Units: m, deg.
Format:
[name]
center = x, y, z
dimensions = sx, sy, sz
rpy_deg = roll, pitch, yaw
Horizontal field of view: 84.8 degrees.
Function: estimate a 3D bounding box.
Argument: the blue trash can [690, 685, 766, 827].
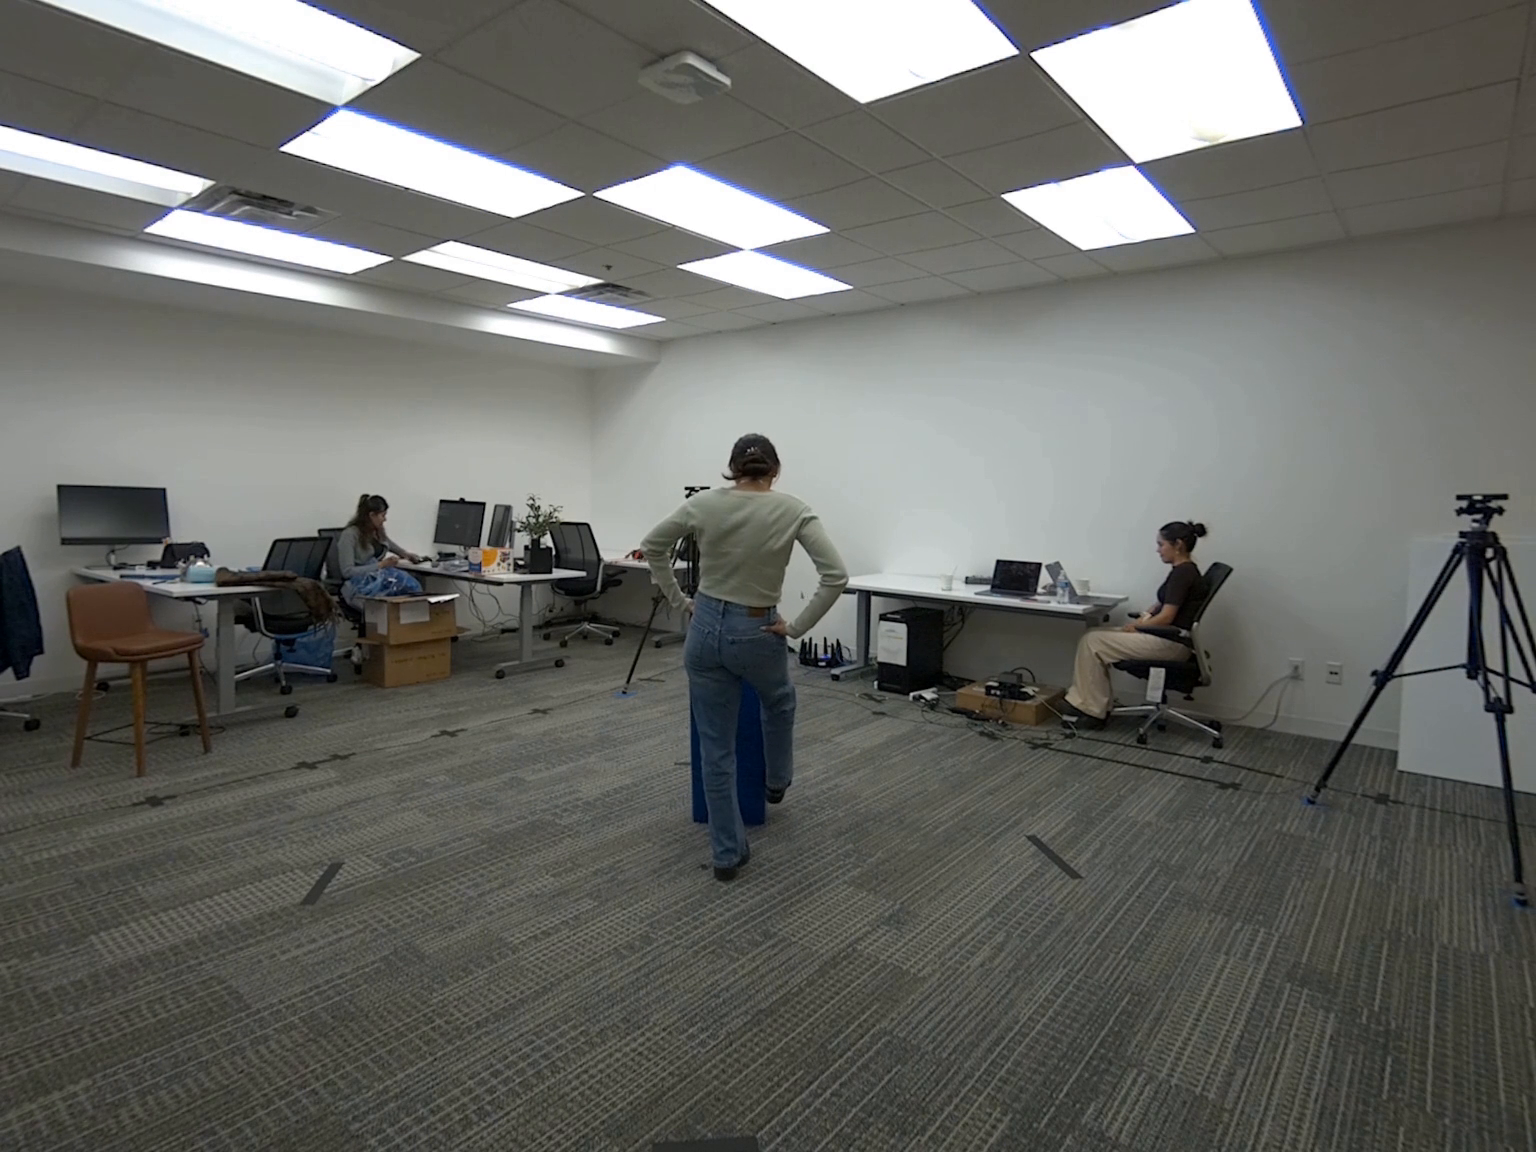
[blue trash can]
center = -0.173, 0.649, 3.658
dimensions = 0.379, 0.711, 0.374
rpy_deg = 0, 4, 2
